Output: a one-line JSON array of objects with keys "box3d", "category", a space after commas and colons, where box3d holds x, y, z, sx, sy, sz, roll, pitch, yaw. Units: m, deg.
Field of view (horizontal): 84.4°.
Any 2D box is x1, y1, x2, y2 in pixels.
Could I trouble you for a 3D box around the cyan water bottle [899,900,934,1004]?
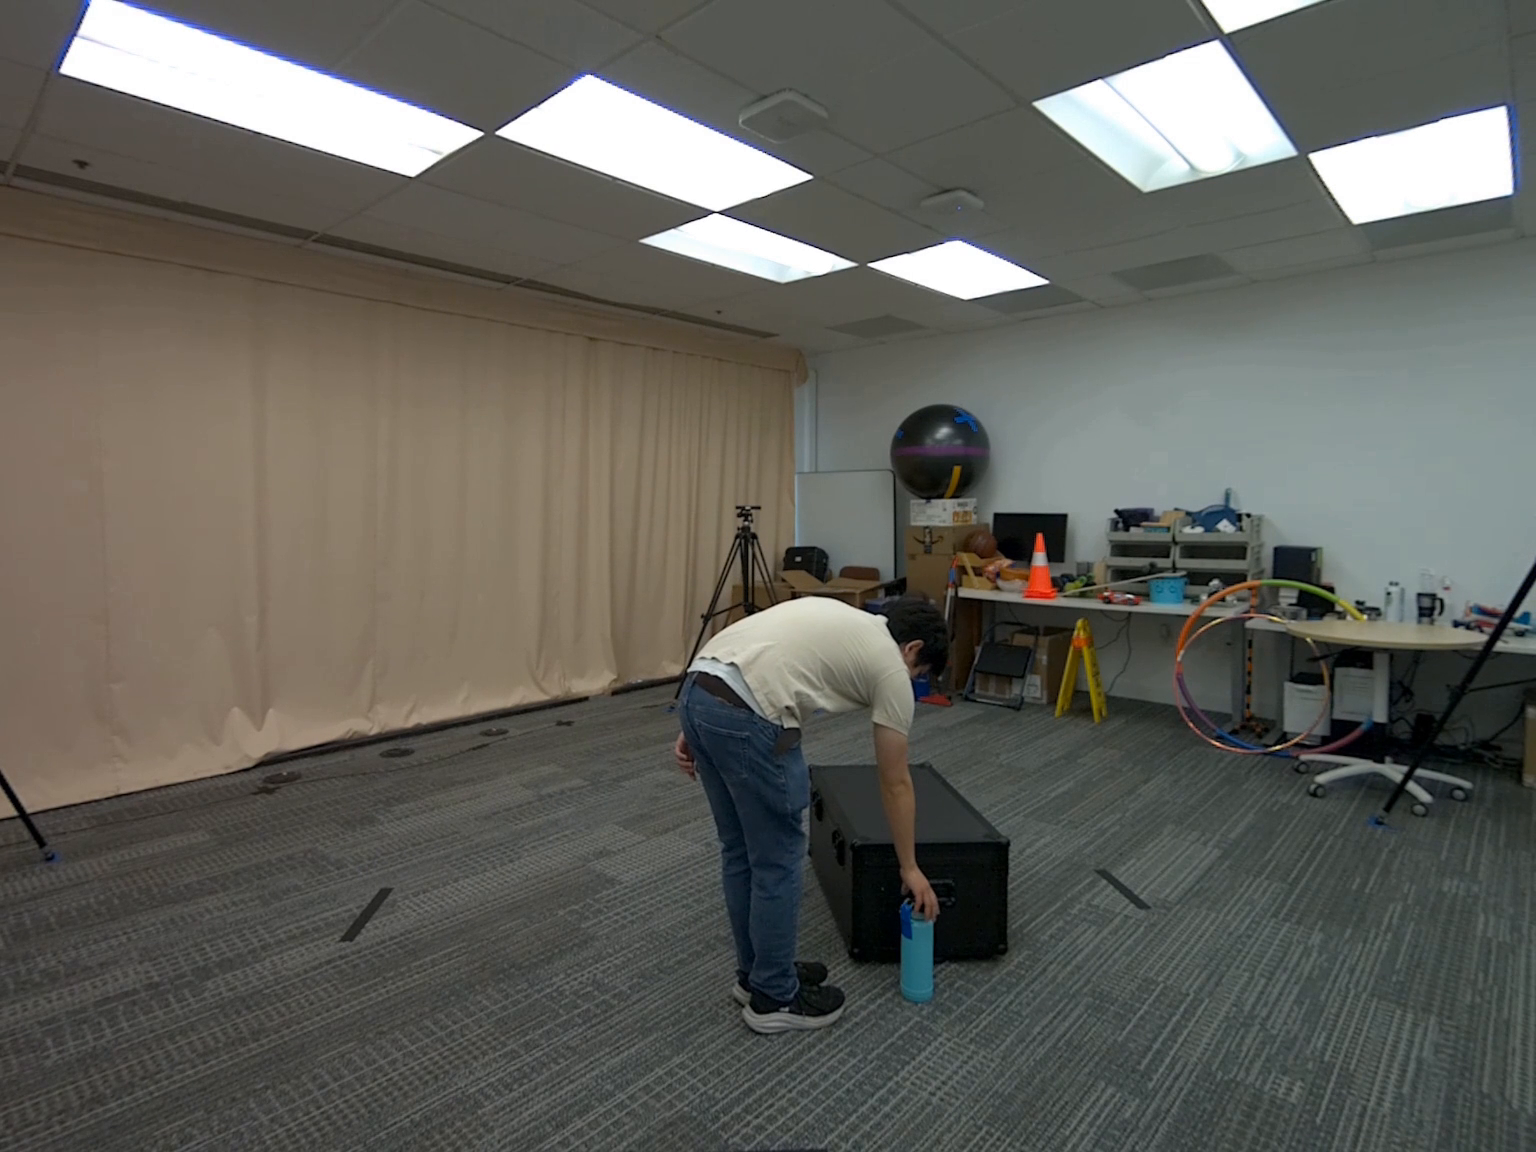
[{"box3d": [0.422, 1.047, 2.398, 0.092, 0.283, 0.092, 1, 3, -2], "category": "cyan water bottle"}]
